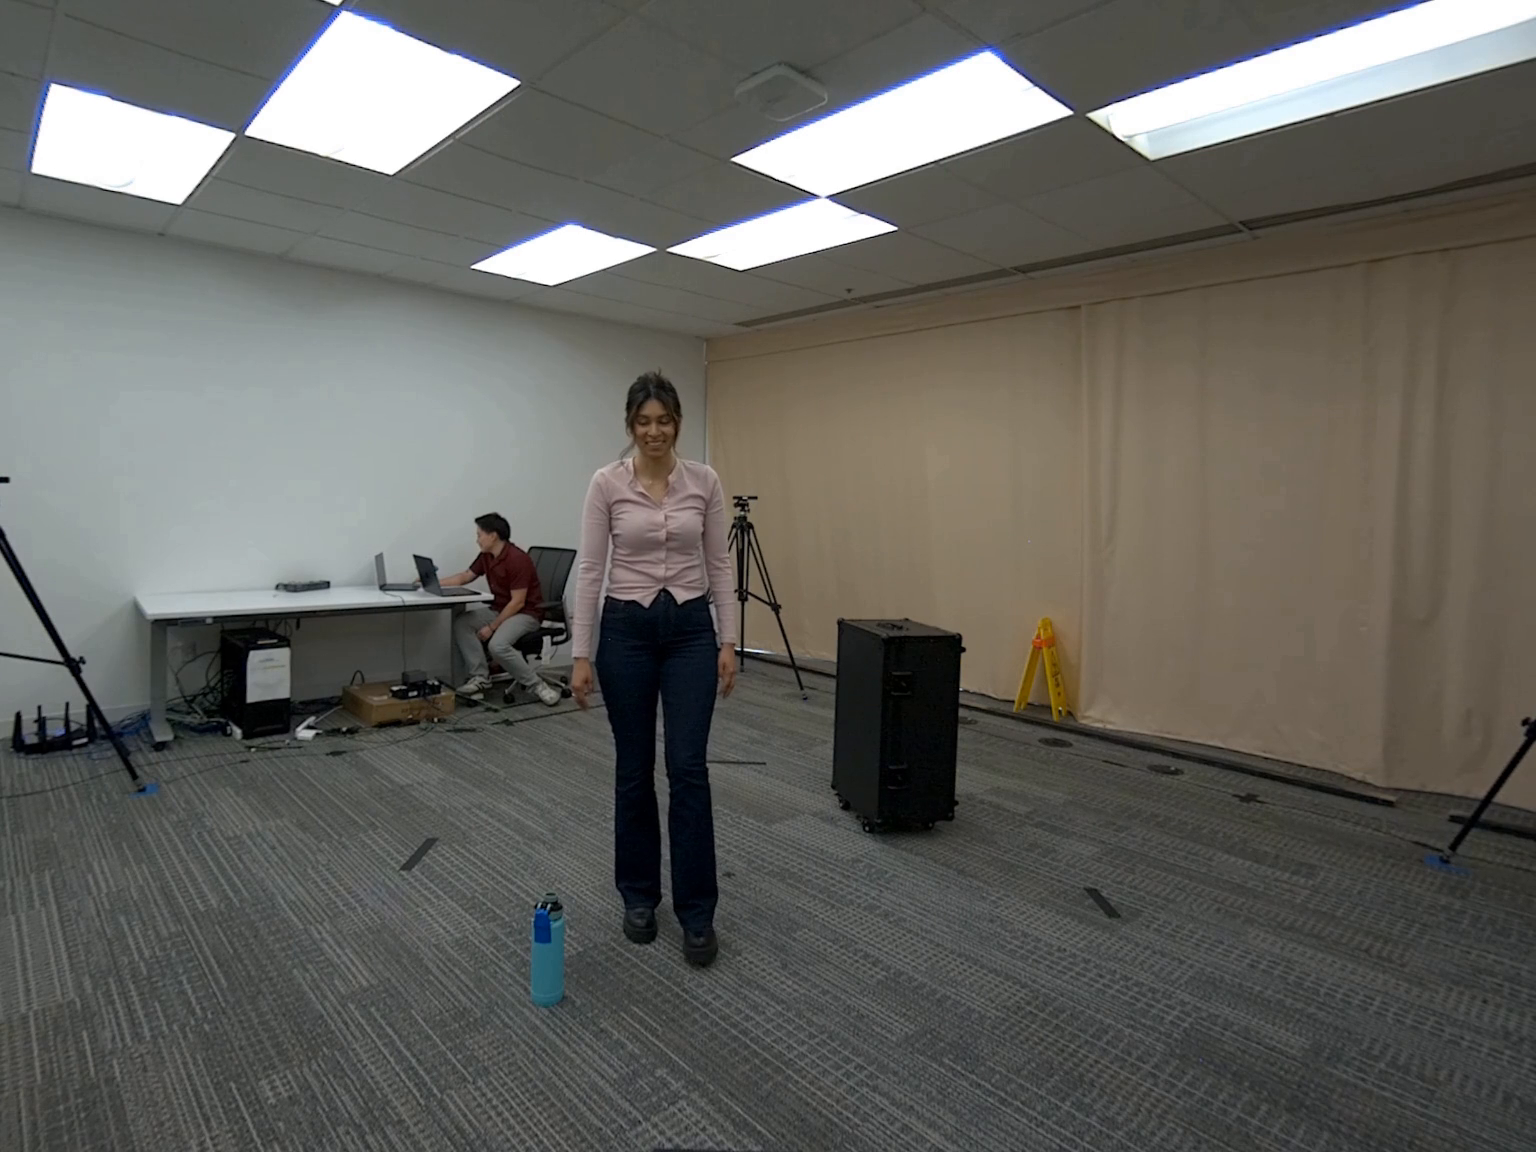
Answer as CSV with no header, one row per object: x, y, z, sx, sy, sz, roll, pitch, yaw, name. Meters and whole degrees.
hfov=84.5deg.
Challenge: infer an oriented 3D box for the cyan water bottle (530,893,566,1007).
-0.613,1.029,2.308,0.092,0.283,0.092,1,3,-1,cyan water bottle
